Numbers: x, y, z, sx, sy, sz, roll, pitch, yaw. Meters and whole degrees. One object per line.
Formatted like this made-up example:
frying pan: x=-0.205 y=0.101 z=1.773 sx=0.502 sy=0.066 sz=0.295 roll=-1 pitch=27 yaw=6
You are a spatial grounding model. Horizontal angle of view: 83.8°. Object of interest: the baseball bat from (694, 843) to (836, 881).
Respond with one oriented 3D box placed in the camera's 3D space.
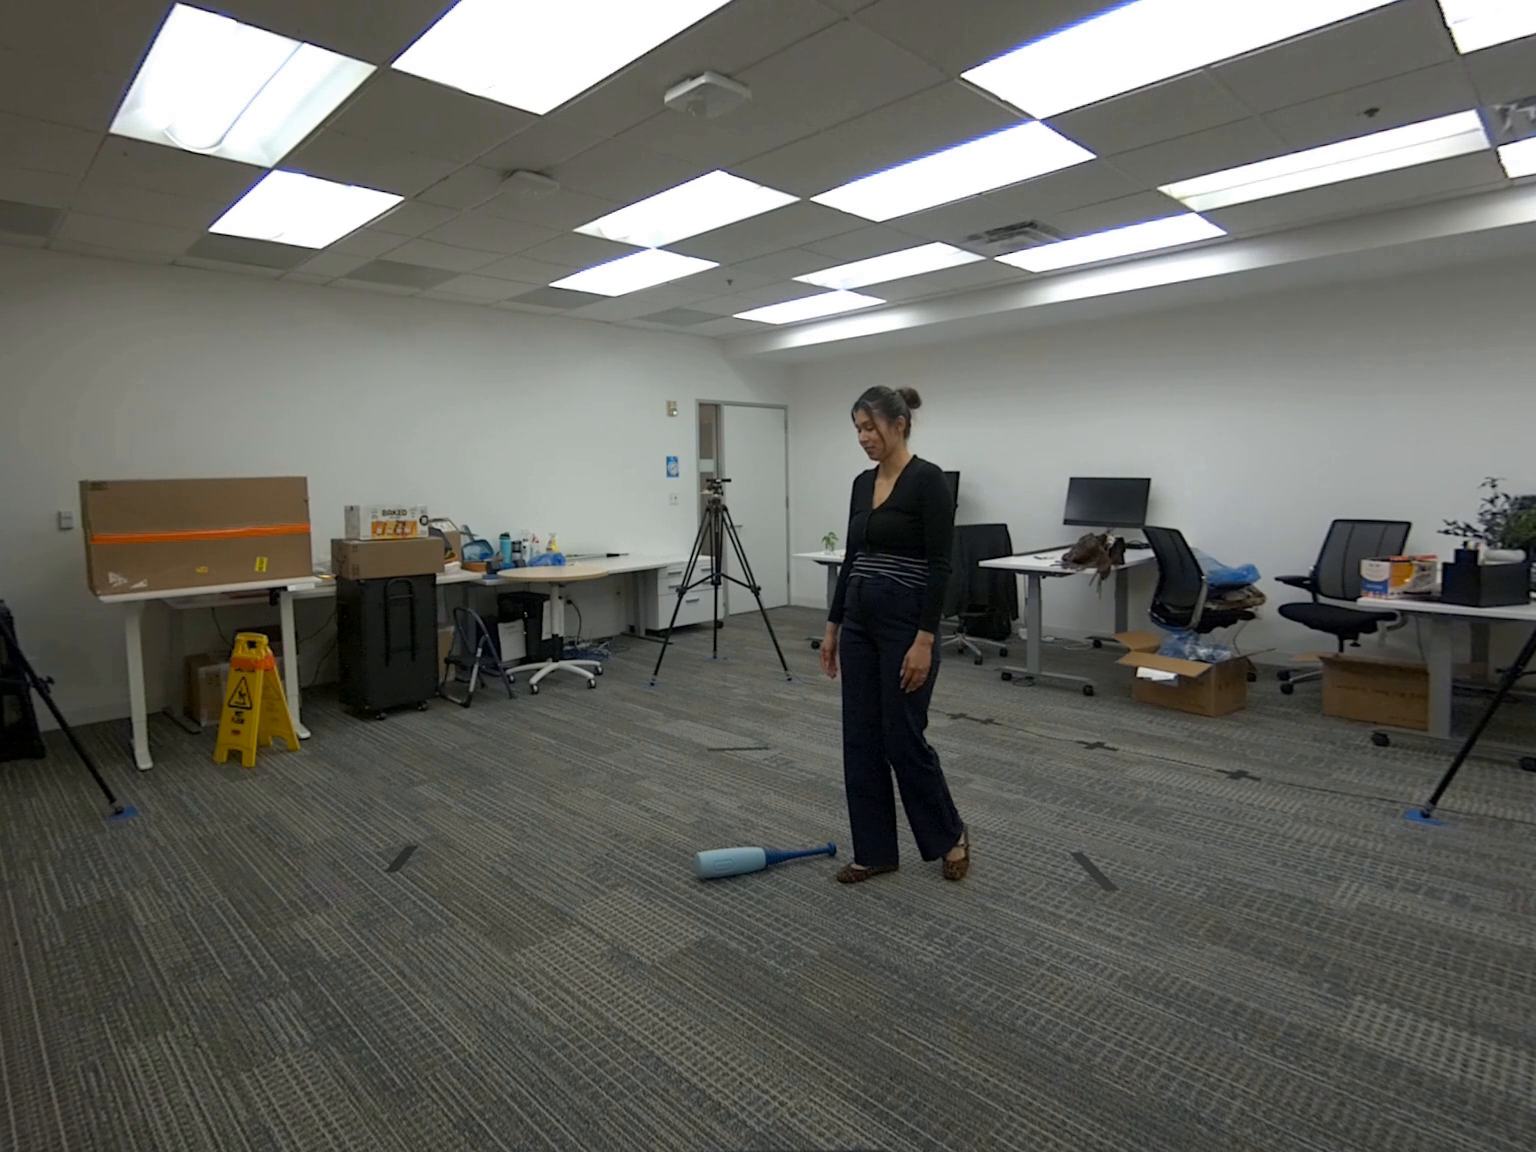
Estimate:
baseball bat: x=0.000 y=1.015 z=3.070 sx=0.533 sy=0.089 sz=0.091 roll=1 pitch=4 yaw=-20
